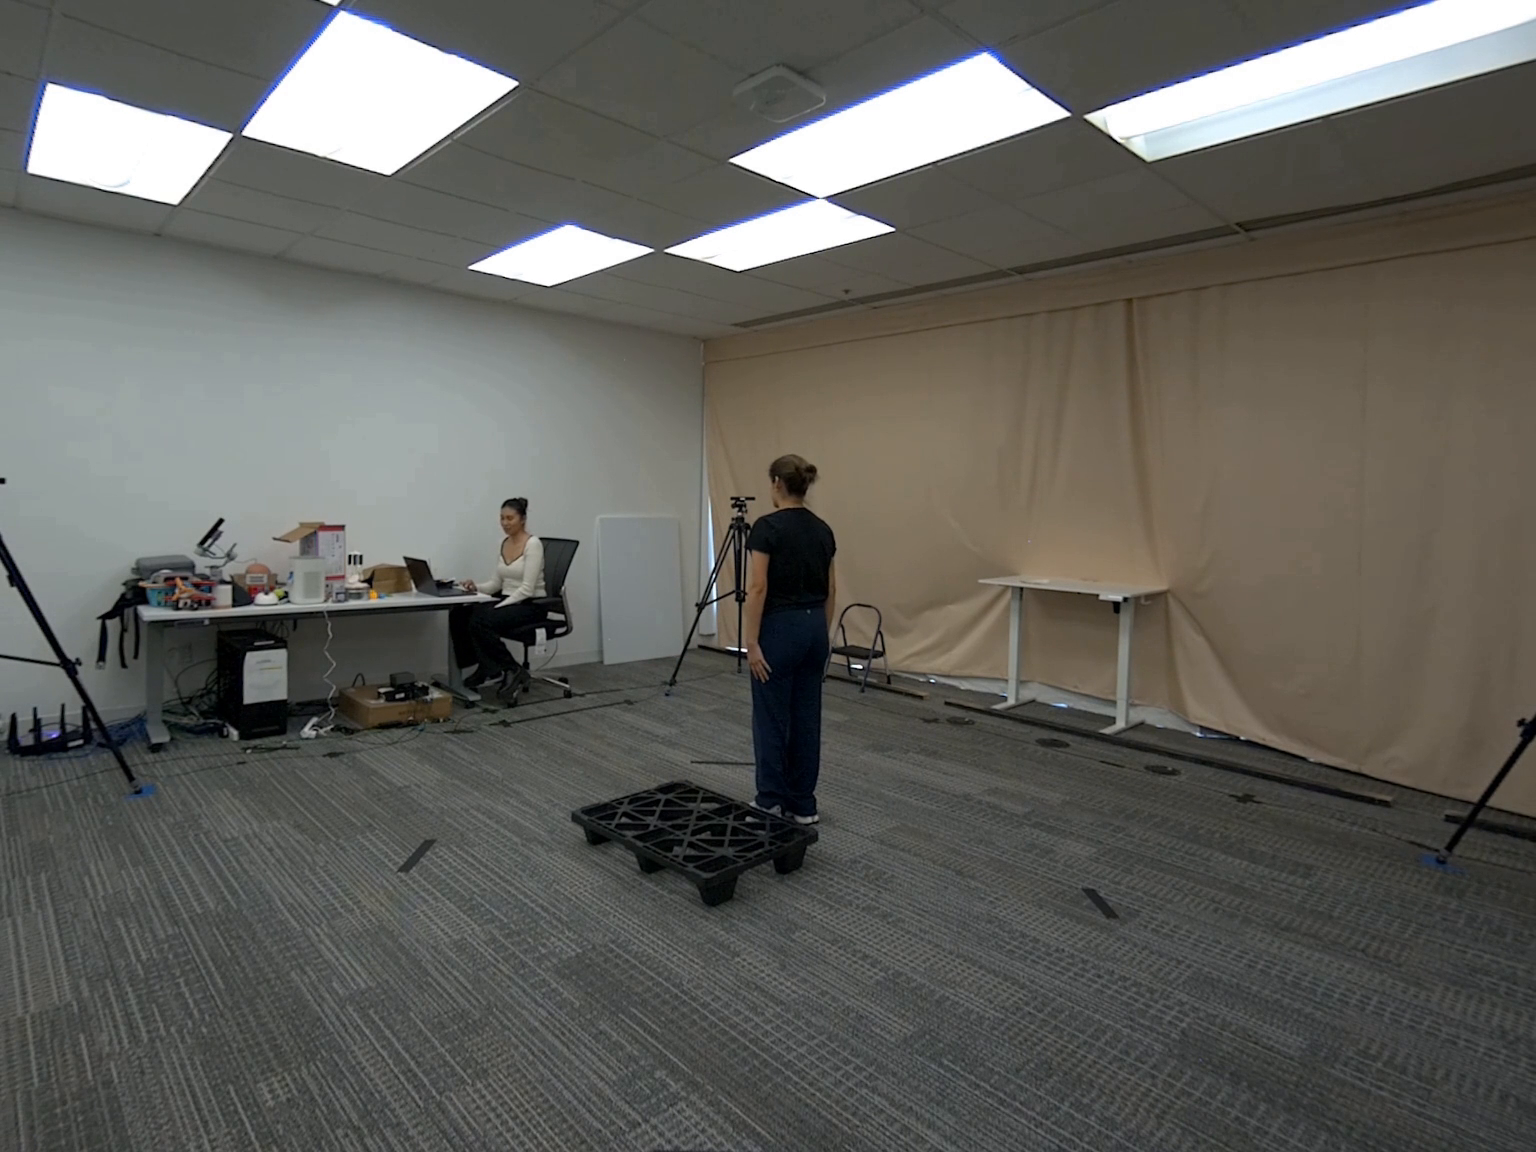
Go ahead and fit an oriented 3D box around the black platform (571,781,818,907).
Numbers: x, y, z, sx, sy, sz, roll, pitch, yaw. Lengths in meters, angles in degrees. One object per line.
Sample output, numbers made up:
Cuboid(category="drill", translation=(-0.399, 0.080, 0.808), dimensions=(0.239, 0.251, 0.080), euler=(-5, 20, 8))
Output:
Cuboid(category="black platform", translation=(-0.302, 1.023, 3.269), dimensions=(0.826, 0.143, 0.591), euler=(6, 7, 43))
